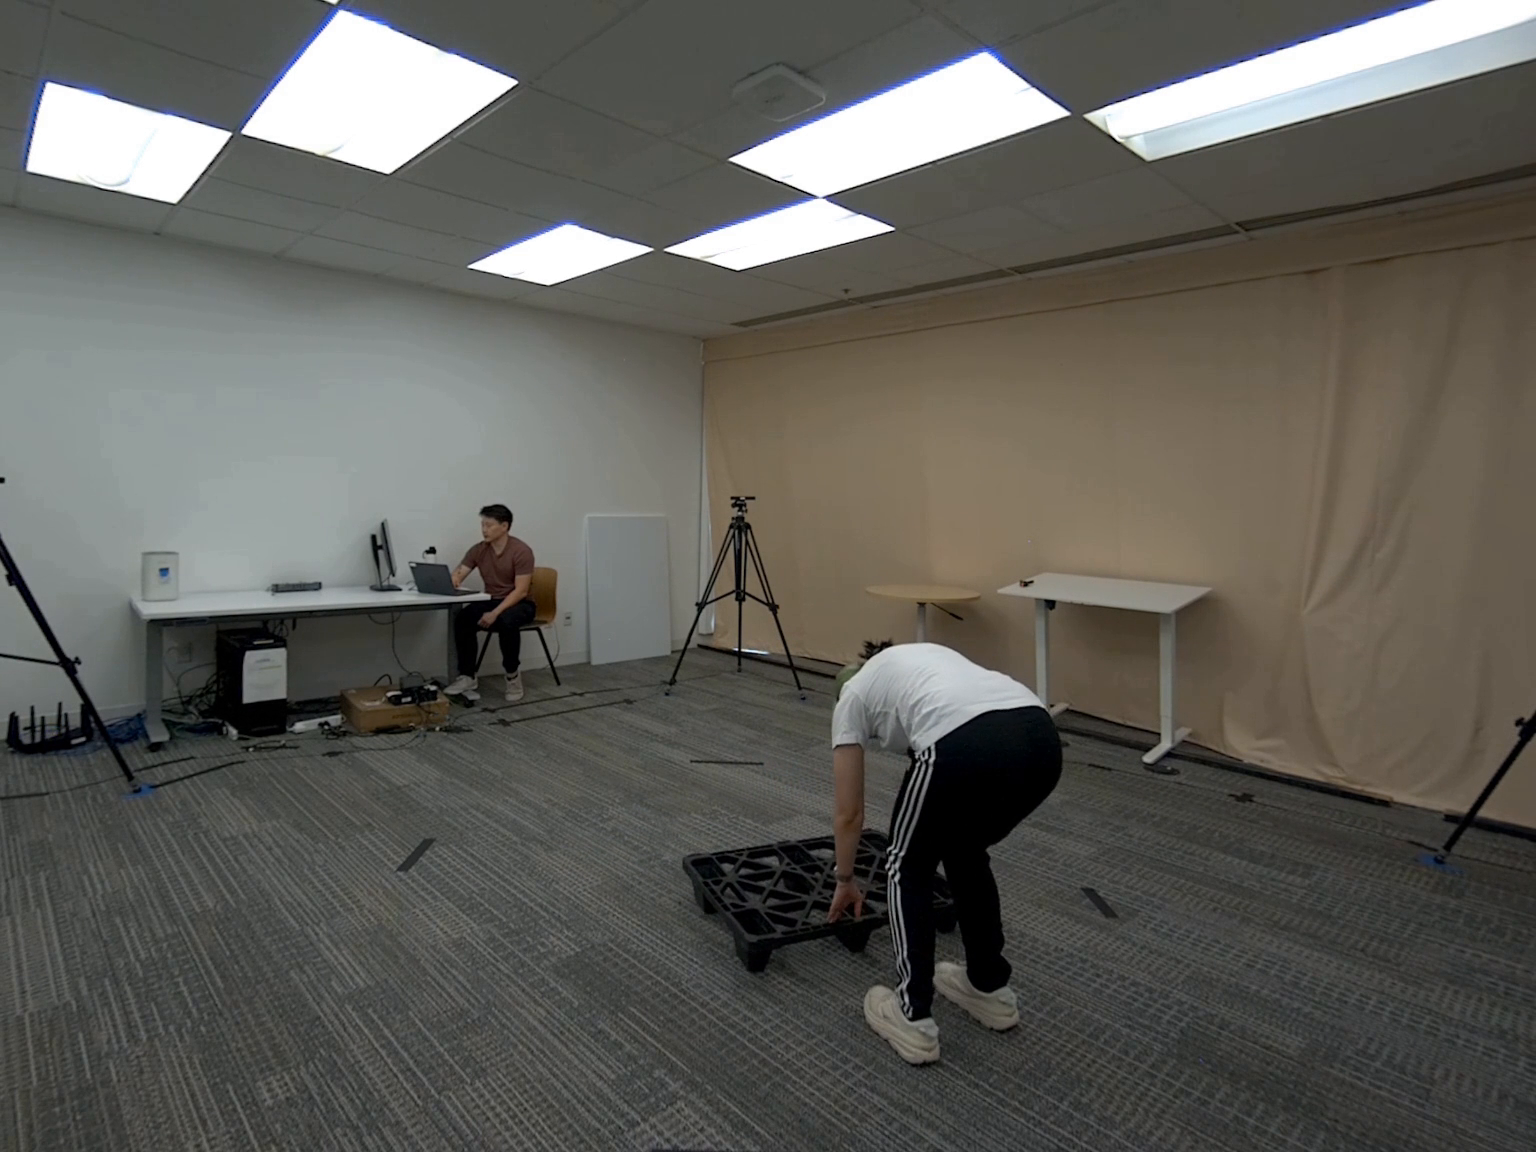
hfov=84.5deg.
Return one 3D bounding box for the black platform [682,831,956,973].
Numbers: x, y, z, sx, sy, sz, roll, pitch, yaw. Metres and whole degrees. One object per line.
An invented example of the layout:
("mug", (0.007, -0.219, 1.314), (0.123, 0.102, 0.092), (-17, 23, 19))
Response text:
("black platform", (0.180, 1.071, 2.813), (0.792, 0.143, 0.617), (-1, 6, -23))
